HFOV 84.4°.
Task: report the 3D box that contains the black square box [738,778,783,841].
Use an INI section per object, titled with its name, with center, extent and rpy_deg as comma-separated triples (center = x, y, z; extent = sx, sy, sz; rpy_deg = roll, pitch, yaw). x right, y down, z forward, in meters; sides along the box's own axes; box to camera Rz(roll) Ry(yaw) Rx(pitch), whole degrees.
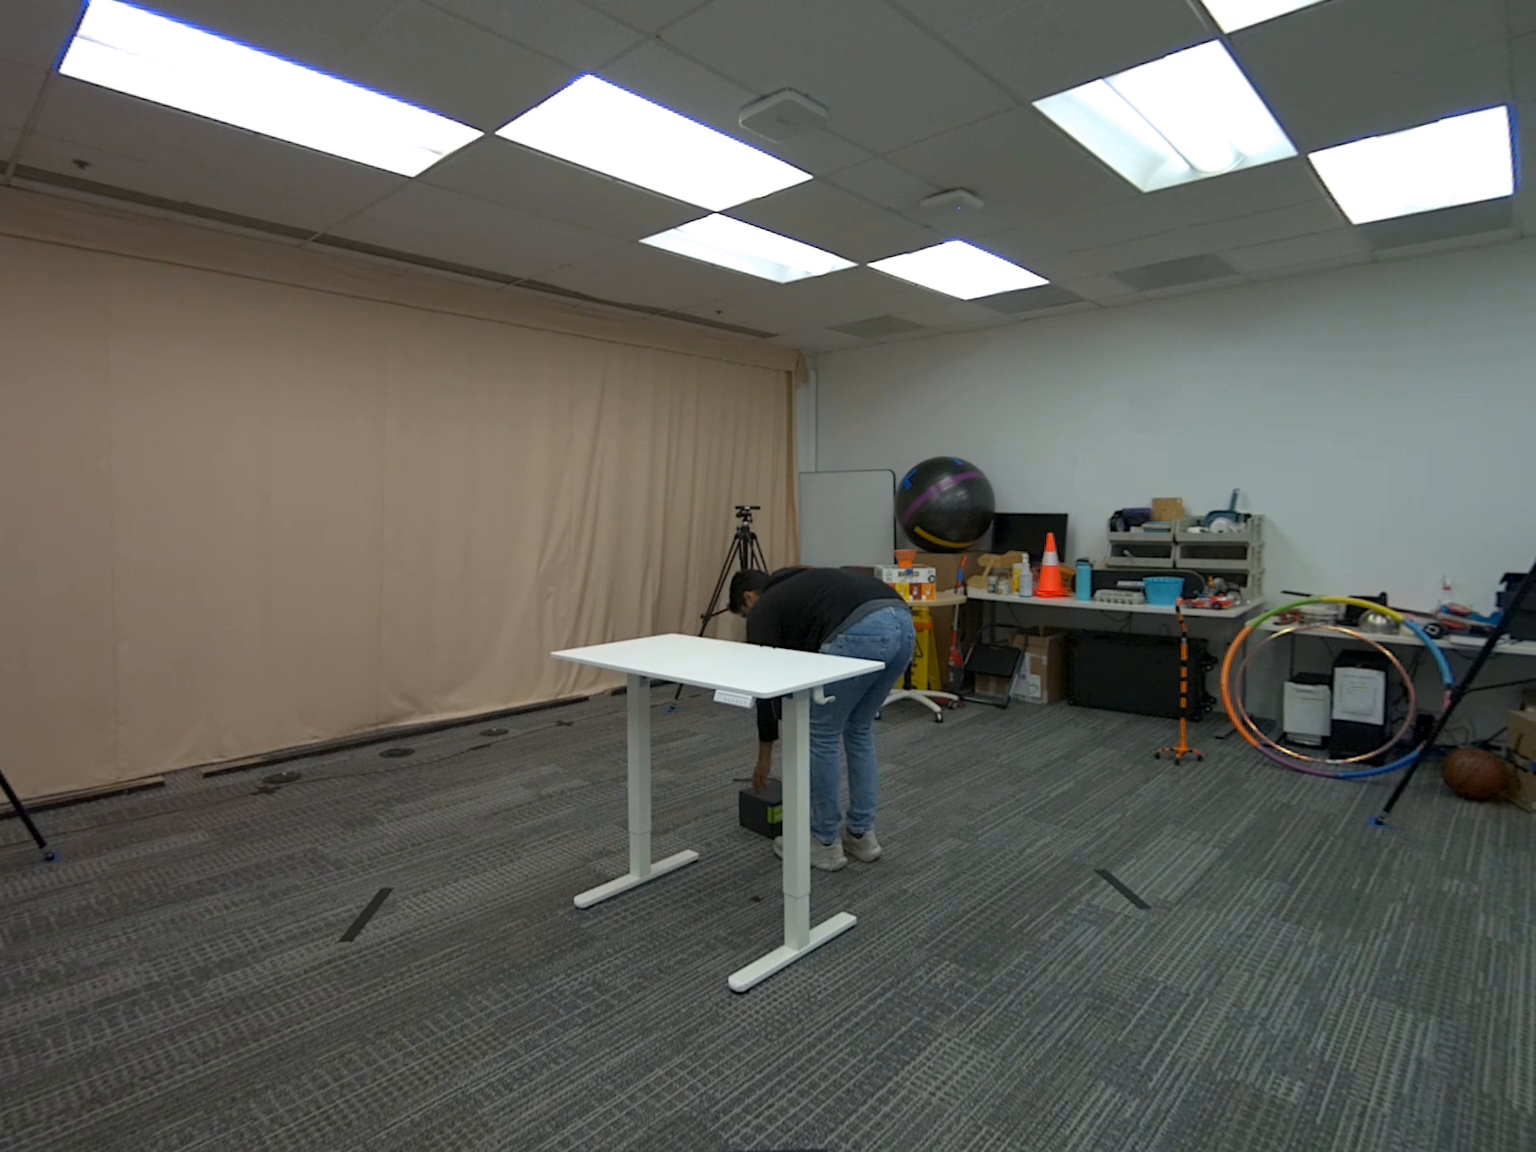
[black square box]
center = 0.030, 1.006, 3.654
extent = 0.221, 0.155, 0.224
rpy_deg = -3, 5, -42
